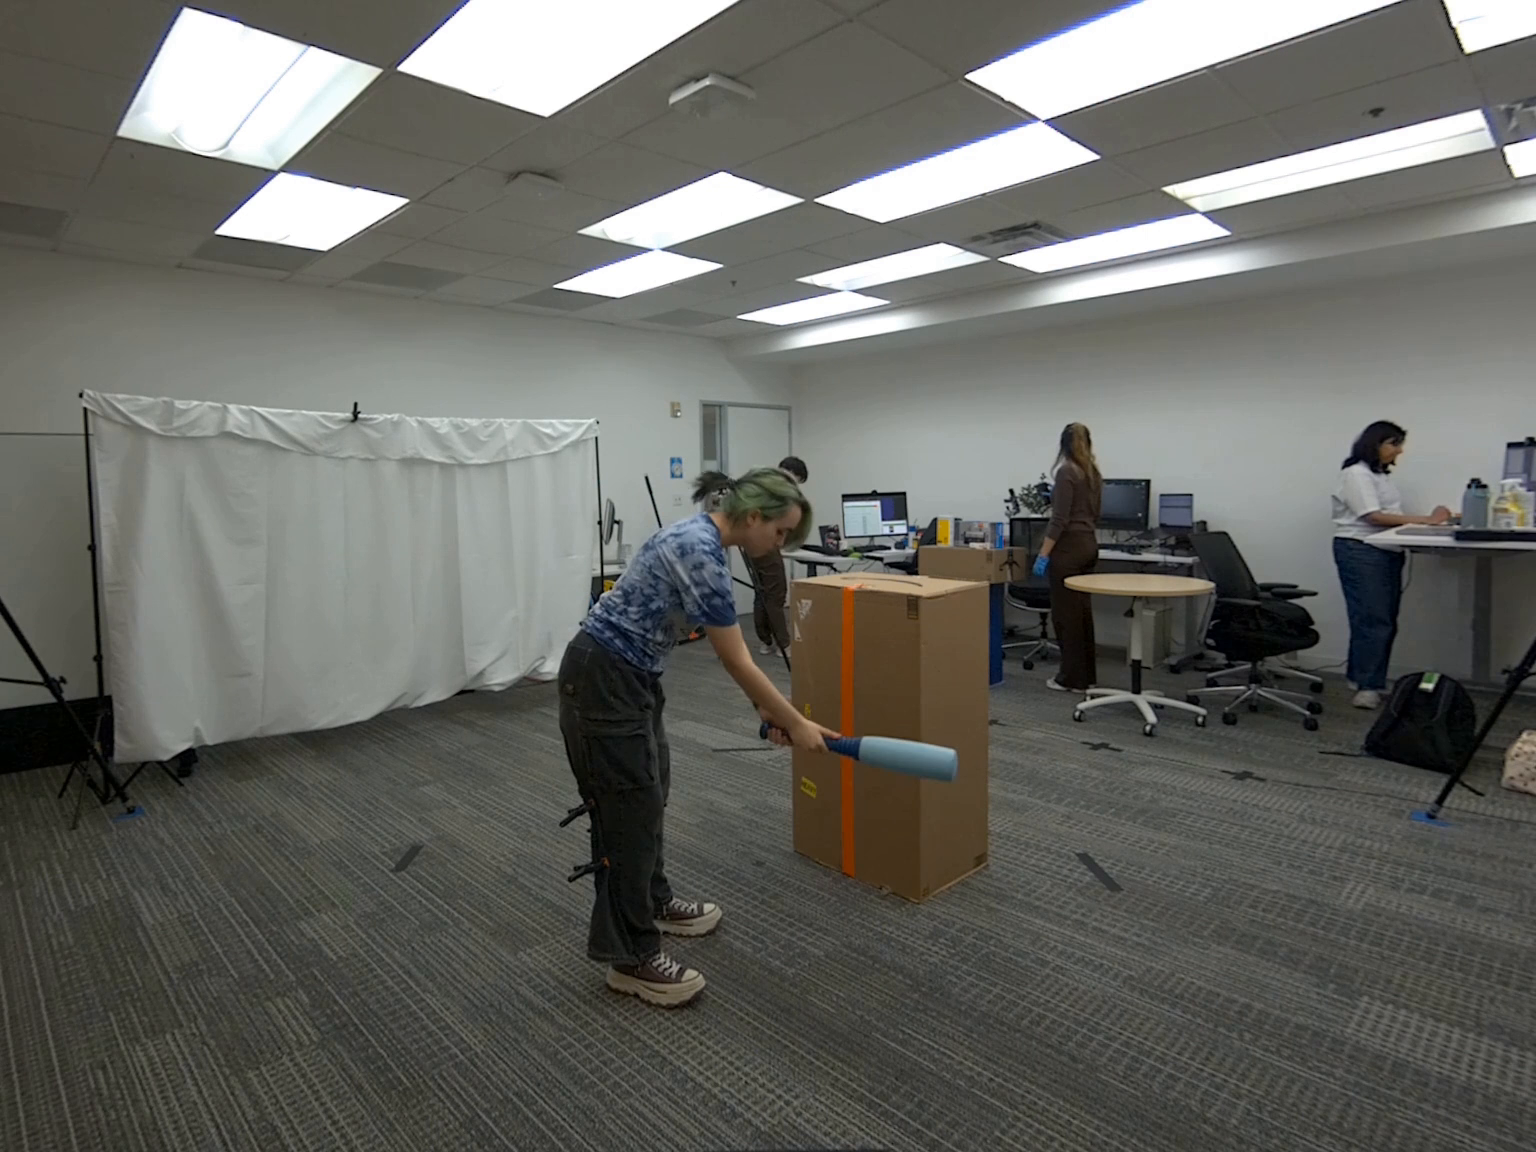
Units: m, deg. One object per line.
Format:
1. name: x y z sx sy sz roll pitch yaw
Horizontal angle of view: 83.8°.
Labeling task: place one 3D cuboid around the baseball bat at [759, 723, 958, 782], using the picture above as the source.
1. baseball bat: 0.228 0.476 2.336 0.555 0.088 0.087 6 7 22
